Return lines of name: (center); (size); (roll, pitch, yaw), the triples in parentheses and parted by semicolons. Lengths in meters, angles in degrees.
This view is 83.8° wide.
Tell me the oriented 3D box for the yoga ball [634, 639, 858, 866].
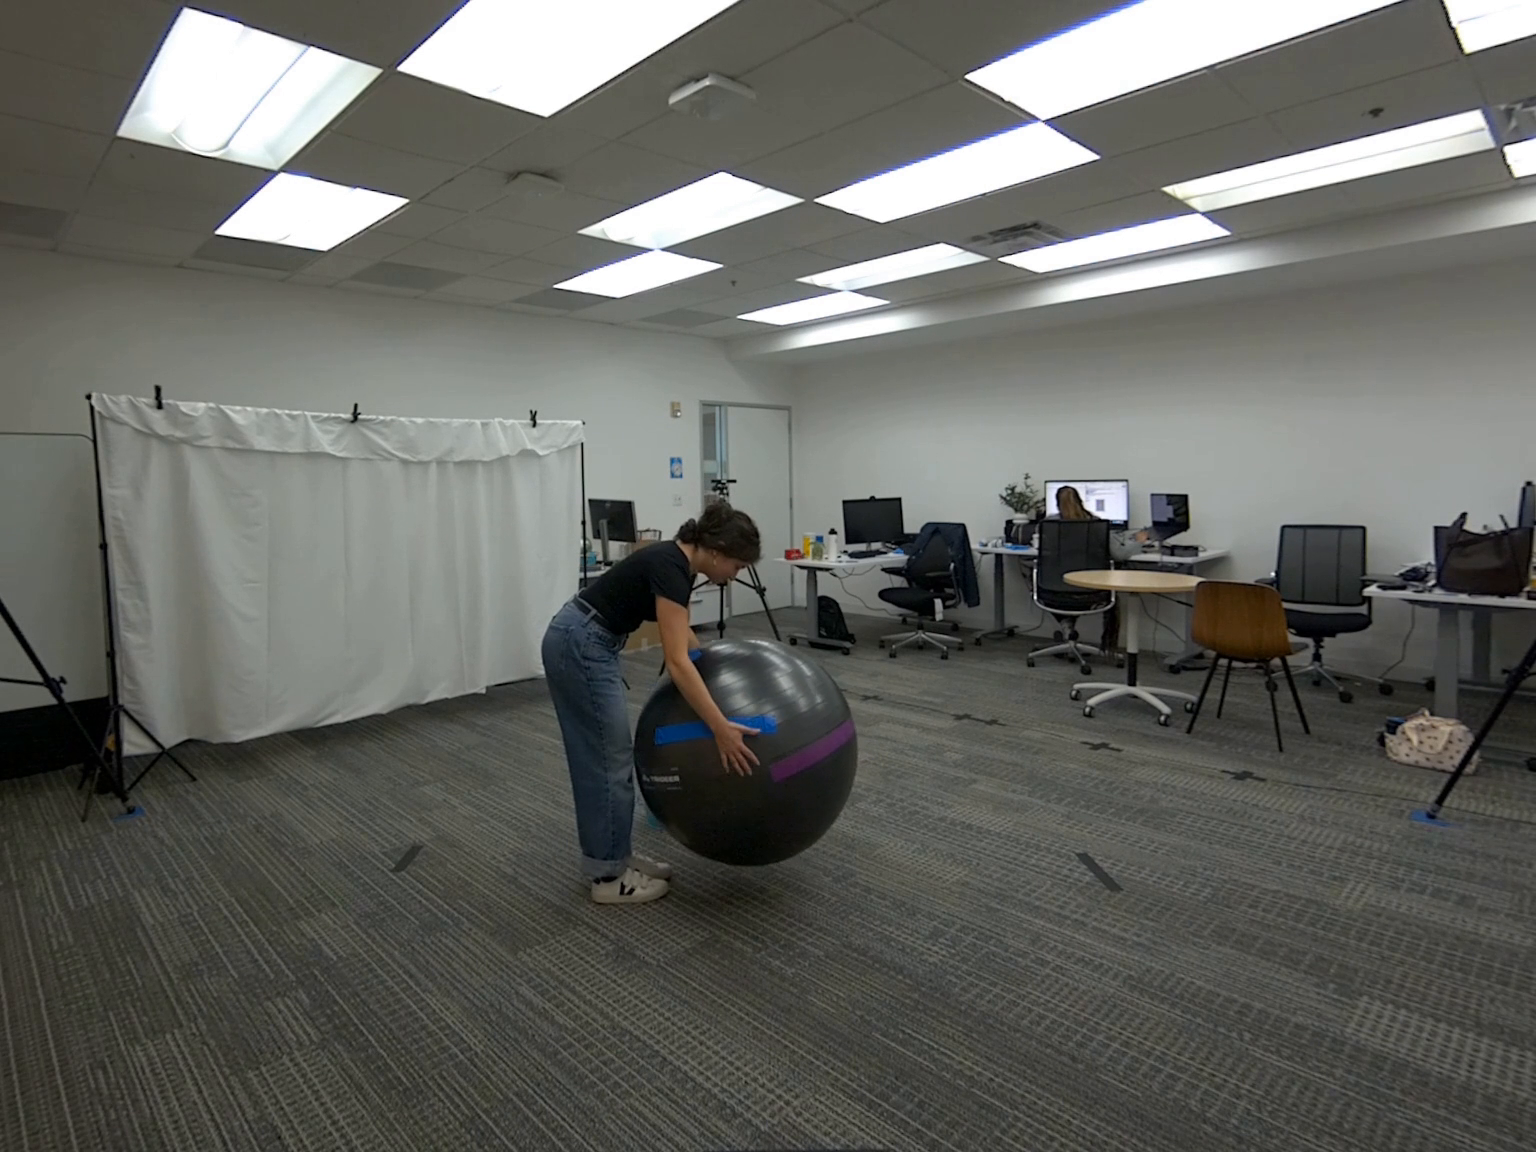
yoga ball: (-0.061, 0.612, 2.909); (0.757, 0.755, 0.762); (-1, 5, -2)
